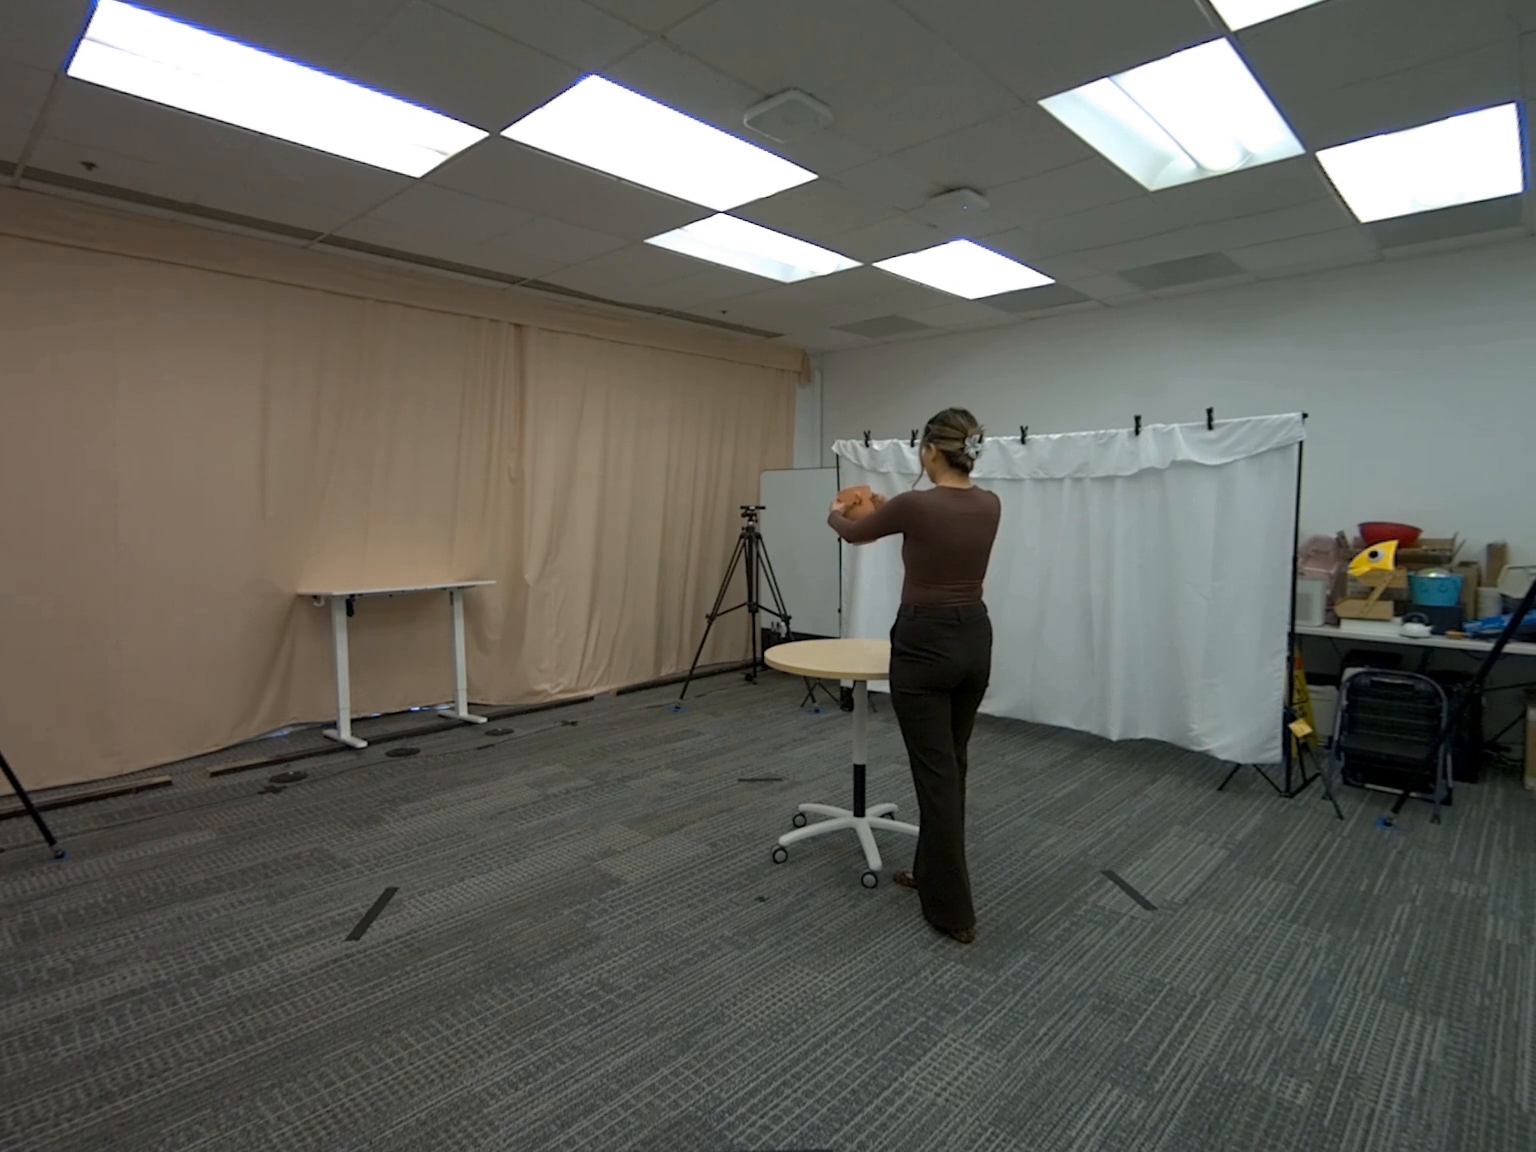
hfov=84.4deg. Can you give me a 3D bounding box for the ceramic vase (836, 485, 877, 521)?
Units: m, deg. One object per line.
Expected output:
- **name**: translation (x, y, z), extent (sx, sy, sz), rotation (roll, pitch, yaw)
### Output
- **ceramic vase**: translation (0.366, -0.234, 3.334), extent (0.138, 0.221, 0.154), rotation (-17, -9, 34)
